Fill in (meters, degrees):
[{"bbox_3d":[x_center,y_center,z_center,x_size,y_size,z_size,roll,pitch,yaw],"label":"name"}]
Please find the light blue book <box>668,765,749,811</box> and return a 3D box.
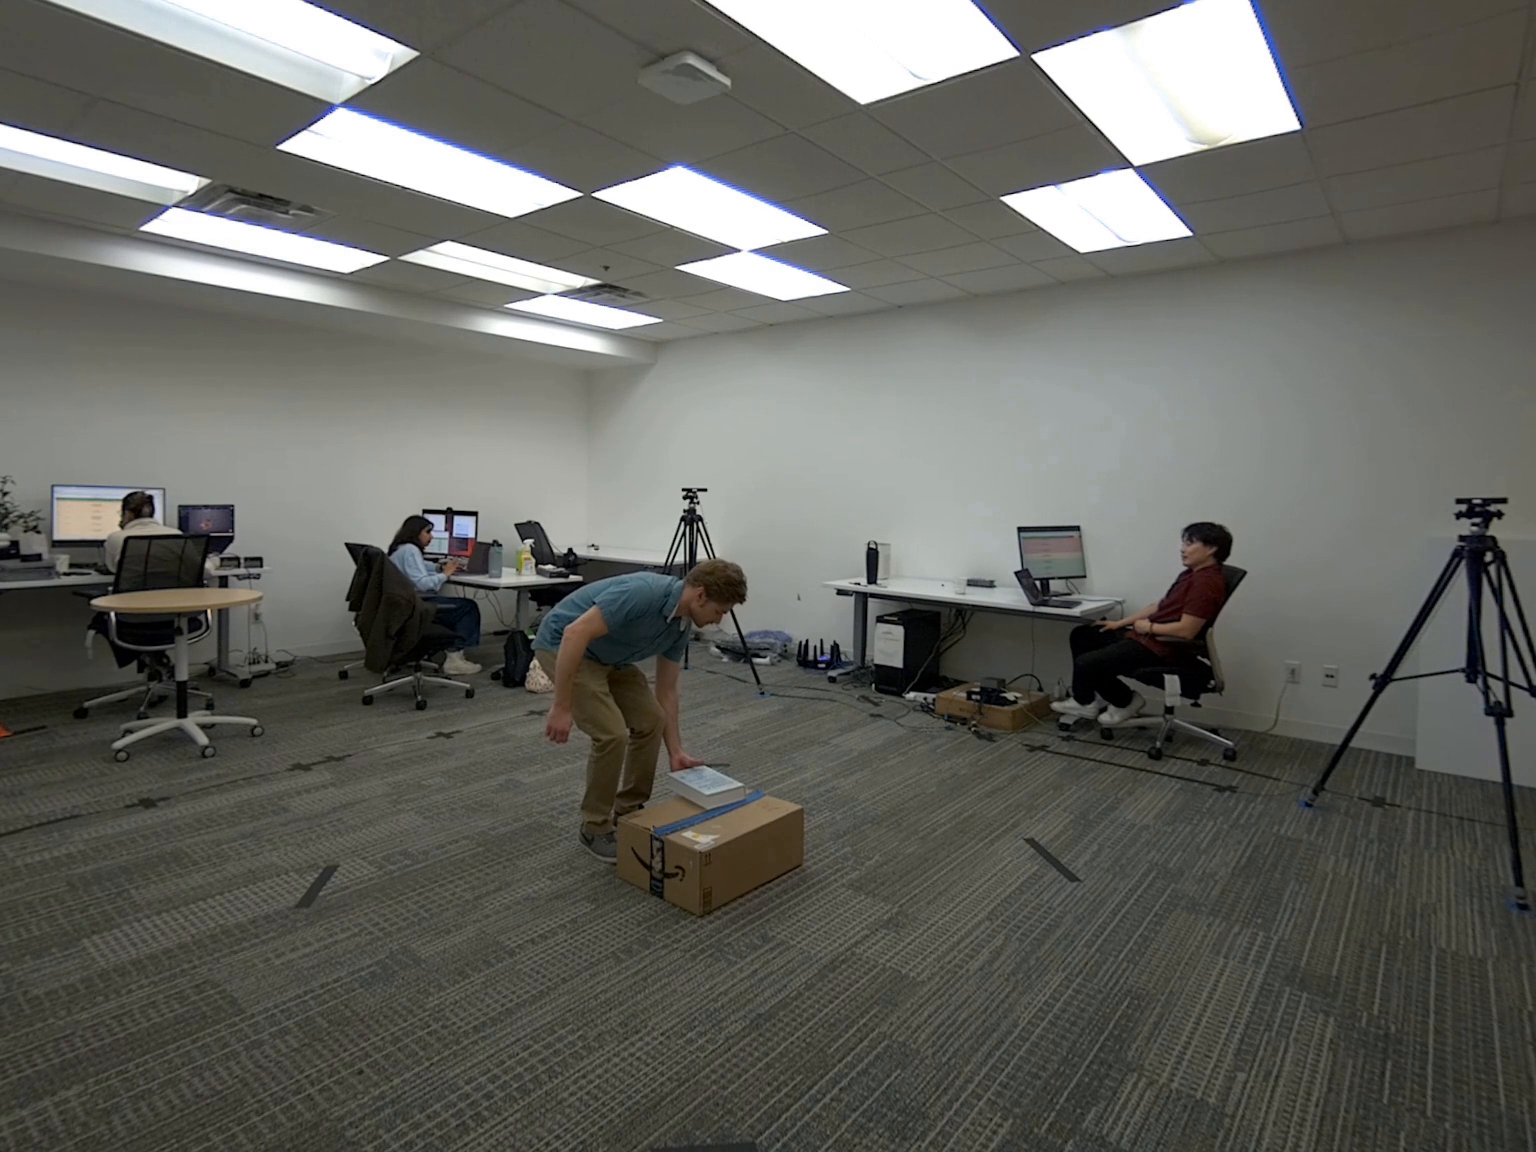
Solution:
[{"bbox_3d":[-0.244,0.813,3.285,0.186,0.059,0.270,-4,9,-40],"label":"light blue book"}]
